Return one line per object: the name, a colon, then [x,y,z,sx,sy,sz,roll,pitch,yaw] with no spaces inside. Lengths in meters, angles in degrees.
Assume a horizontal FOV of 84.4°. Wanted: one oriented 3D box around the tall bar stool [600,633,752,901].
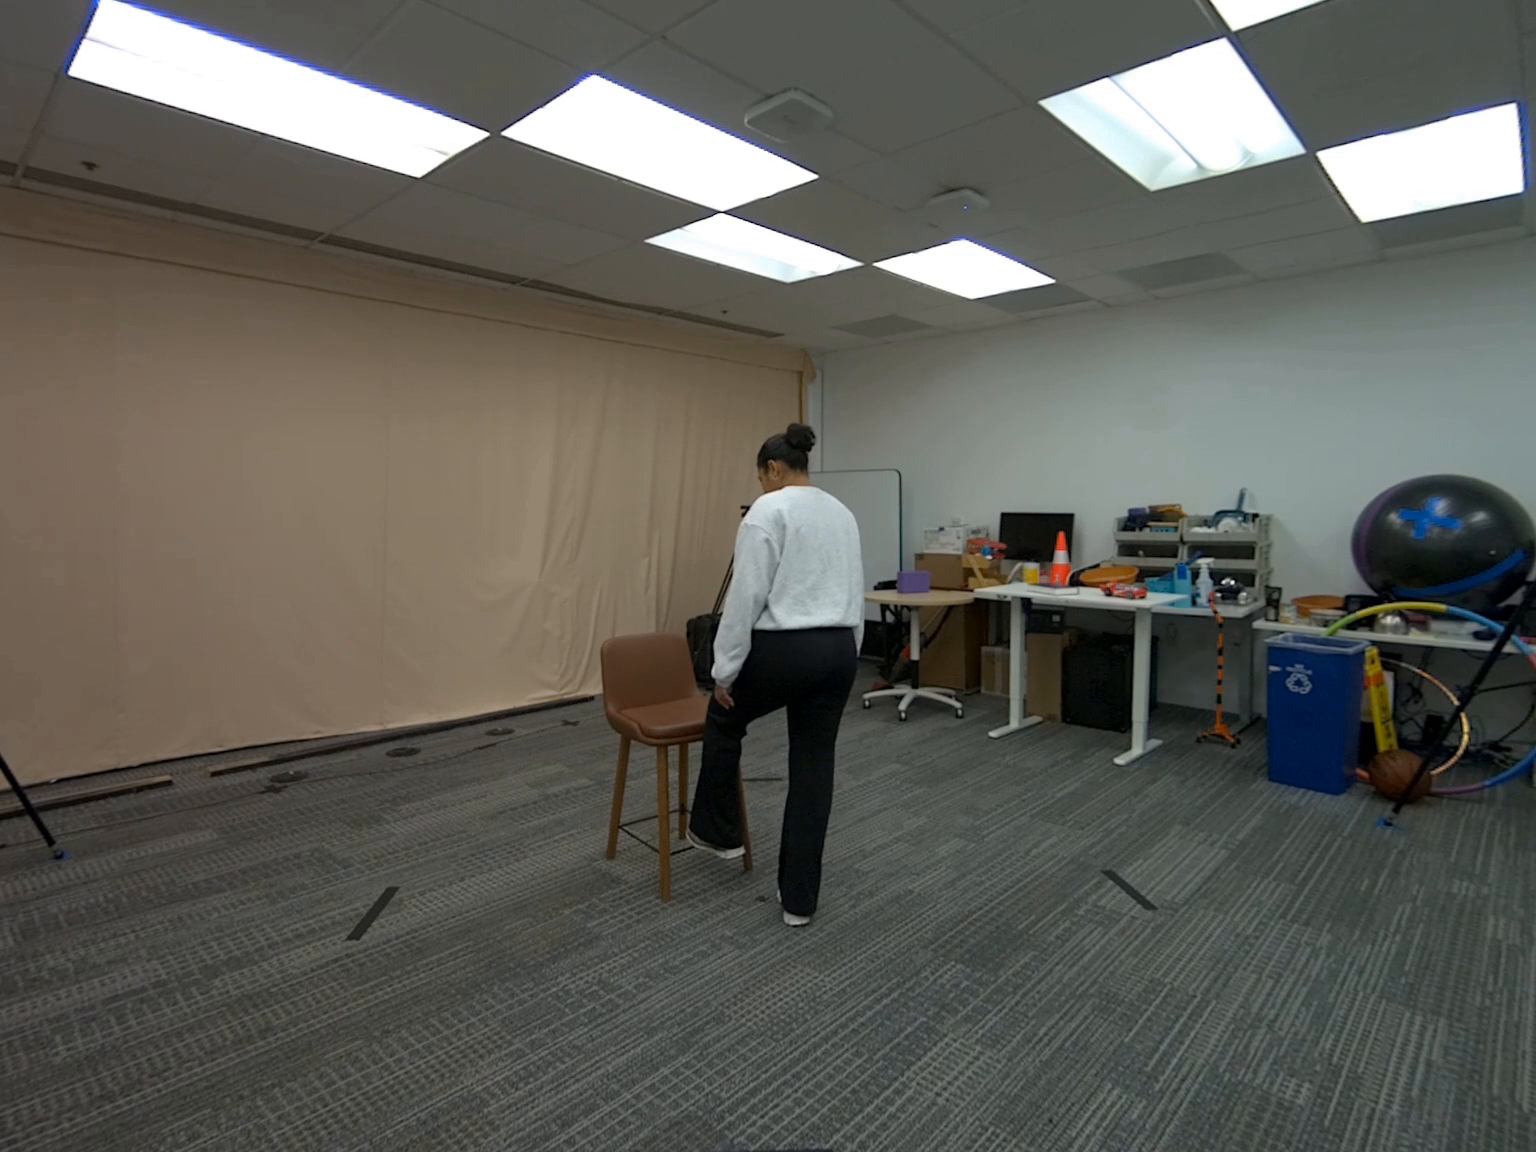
tall bar stool: [-0.367,0.689,3.257,0.443,0.889,0.482,-3,2,-39]
